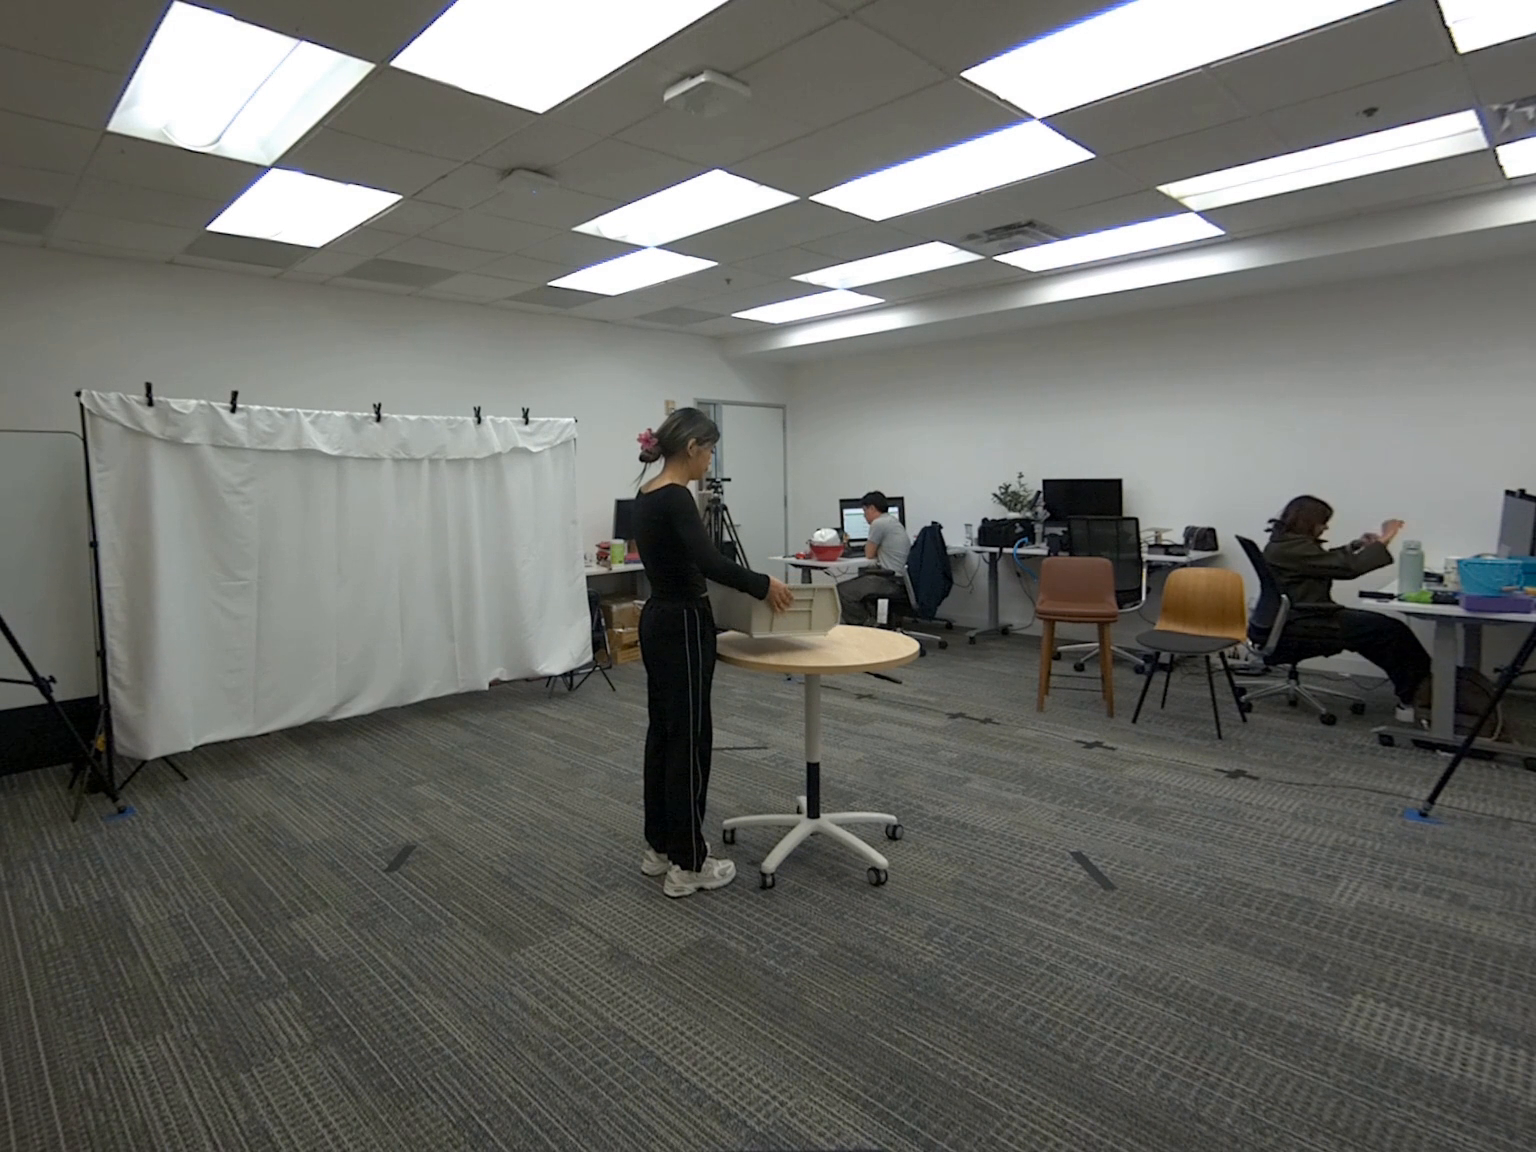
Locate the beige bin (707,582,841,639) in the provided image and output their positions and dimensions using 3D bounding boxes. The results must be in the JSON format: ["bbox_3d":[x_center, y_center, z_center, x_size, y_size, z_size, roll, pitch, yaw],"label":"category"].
[{"bbox_3d":[-0.013,0.099,3.106,0.368,0.188,0.435,-1,5,-33],"label":"beige bin"}]
